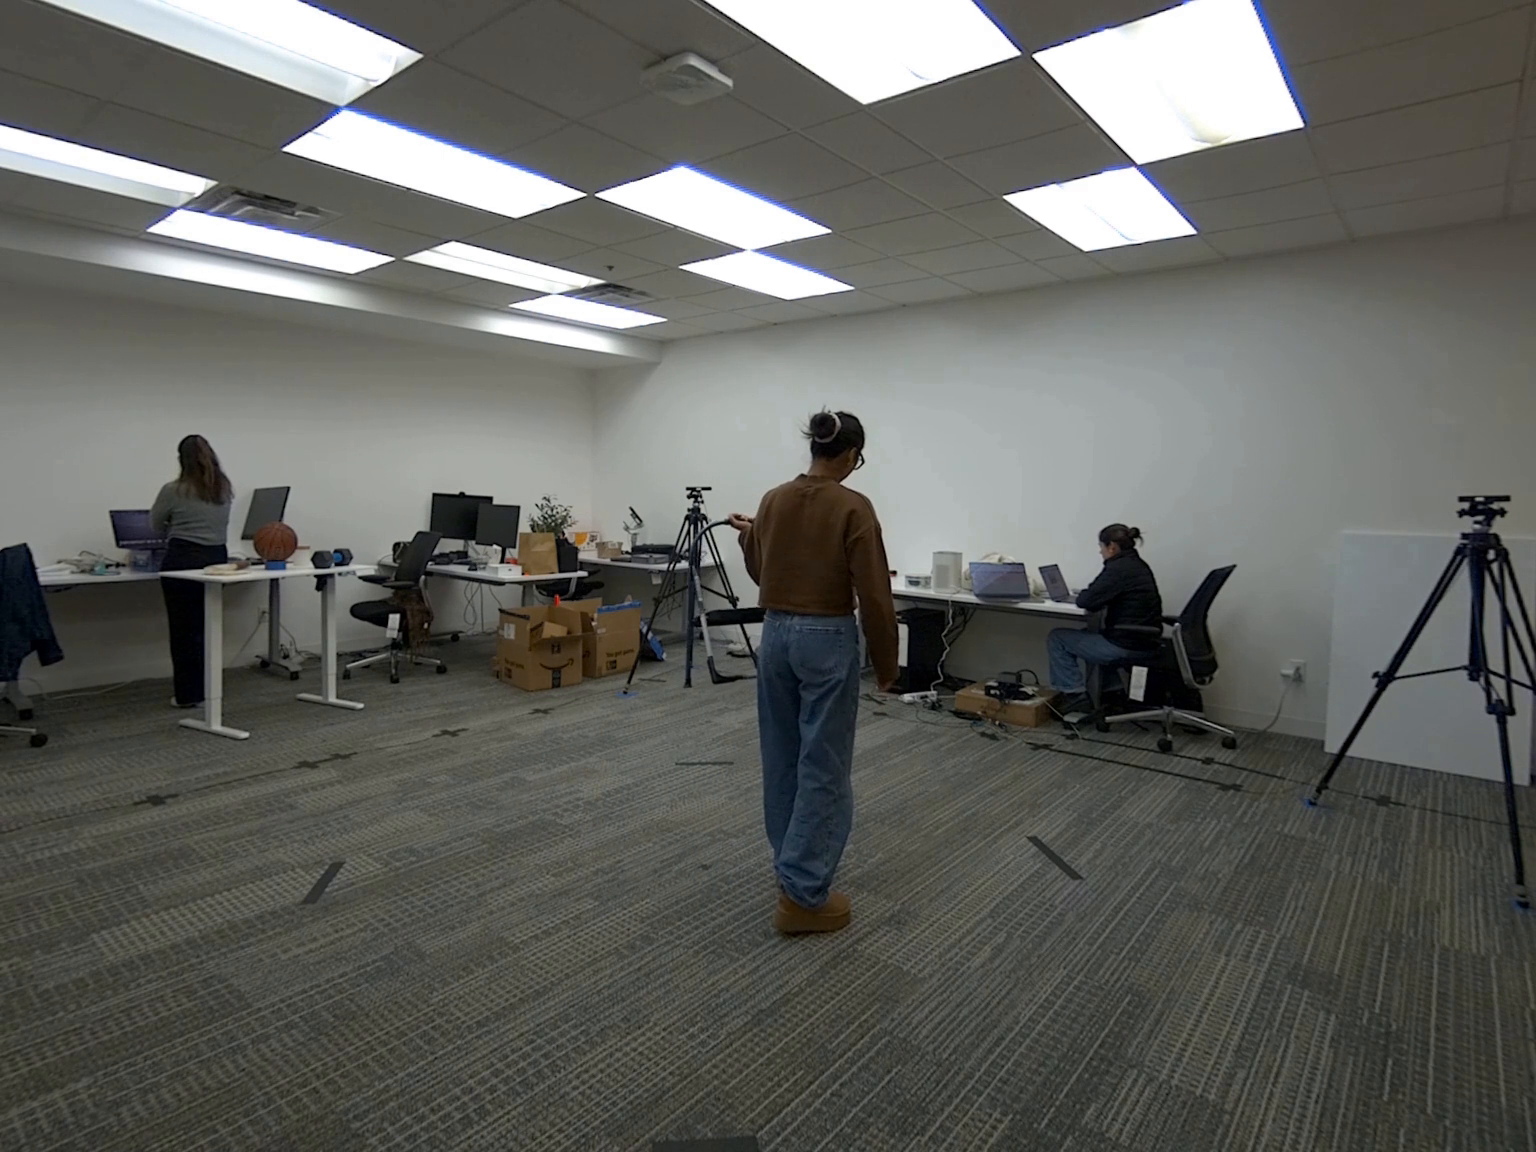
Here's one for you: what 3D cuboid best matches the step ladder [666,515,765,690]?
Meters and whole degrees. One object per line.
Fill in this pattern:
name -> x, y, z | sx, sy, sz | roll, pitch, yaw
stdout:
step ladder -> -0.112, 0.101, 3.238 | 0.422, 0.612, 0.353 | -3, -10, -22
